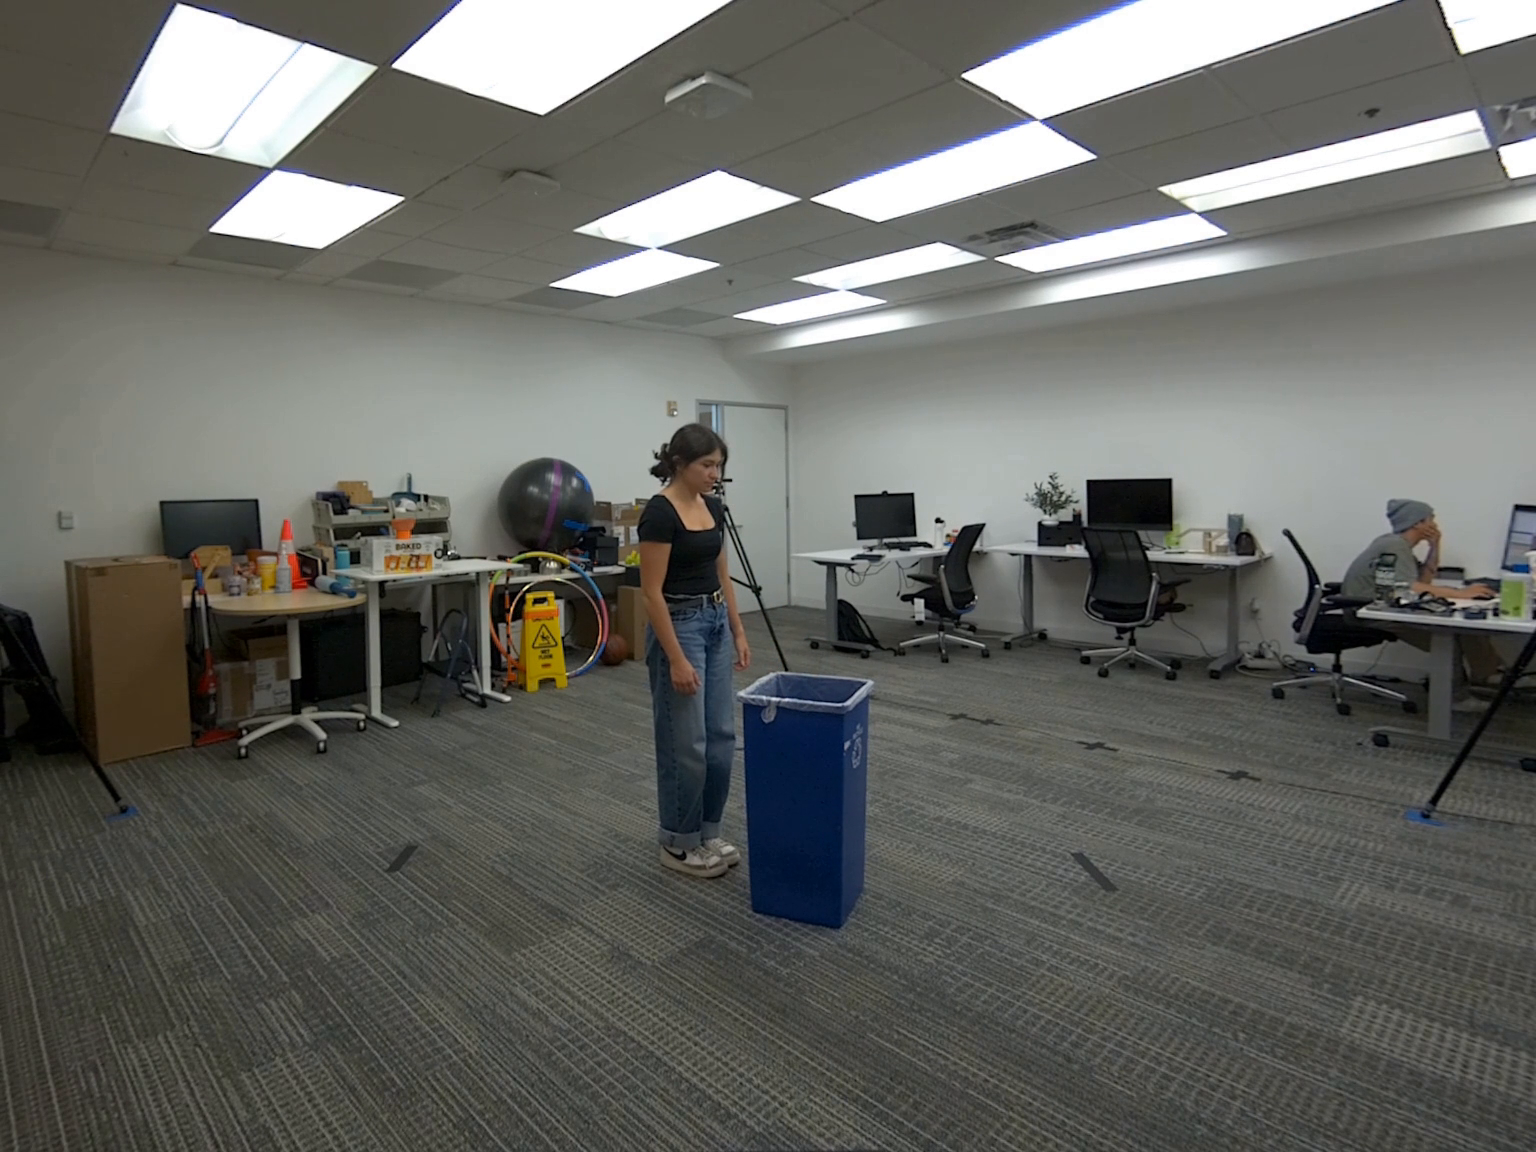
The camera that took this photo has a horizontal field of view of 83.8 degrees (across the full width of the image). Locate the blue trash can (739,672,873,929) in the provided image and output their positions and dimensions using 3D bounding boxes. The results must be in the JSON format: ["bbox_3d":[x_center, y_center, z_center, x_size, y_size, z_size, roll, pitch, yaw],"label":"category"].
[{"bbox_3d":[0.136,0.716,2.815,0.386,0.711,0.368,1,5,22],"label":"blue trash can"}]
